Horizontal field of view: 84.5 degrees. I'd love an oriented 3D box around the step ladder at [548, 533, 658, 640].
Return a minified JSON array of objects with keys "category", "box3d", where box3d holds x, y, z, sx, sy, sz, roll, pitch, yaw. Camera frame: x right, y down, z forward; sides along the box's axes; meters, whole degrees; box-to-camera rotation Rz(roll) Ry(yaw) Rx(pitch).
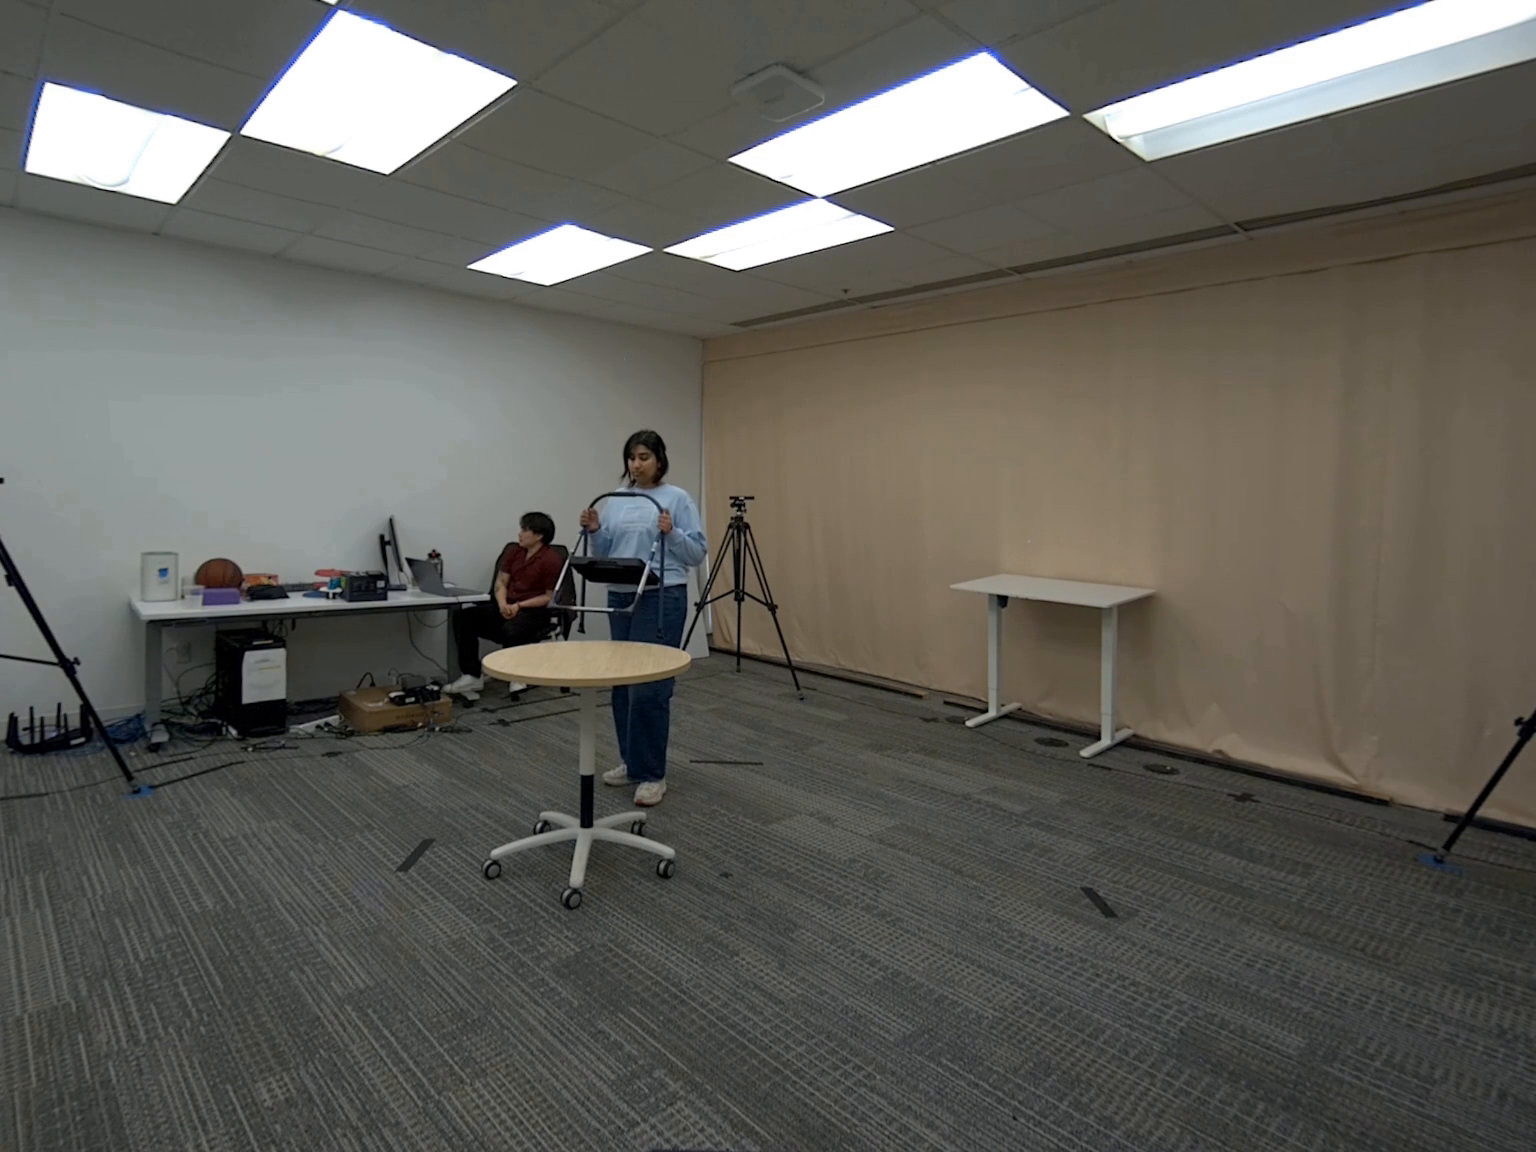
[{"category":"step ladder","box3d":[-0.678,-0.071,3.793,0.437,0.613,0.340,2,-22,17]}]
